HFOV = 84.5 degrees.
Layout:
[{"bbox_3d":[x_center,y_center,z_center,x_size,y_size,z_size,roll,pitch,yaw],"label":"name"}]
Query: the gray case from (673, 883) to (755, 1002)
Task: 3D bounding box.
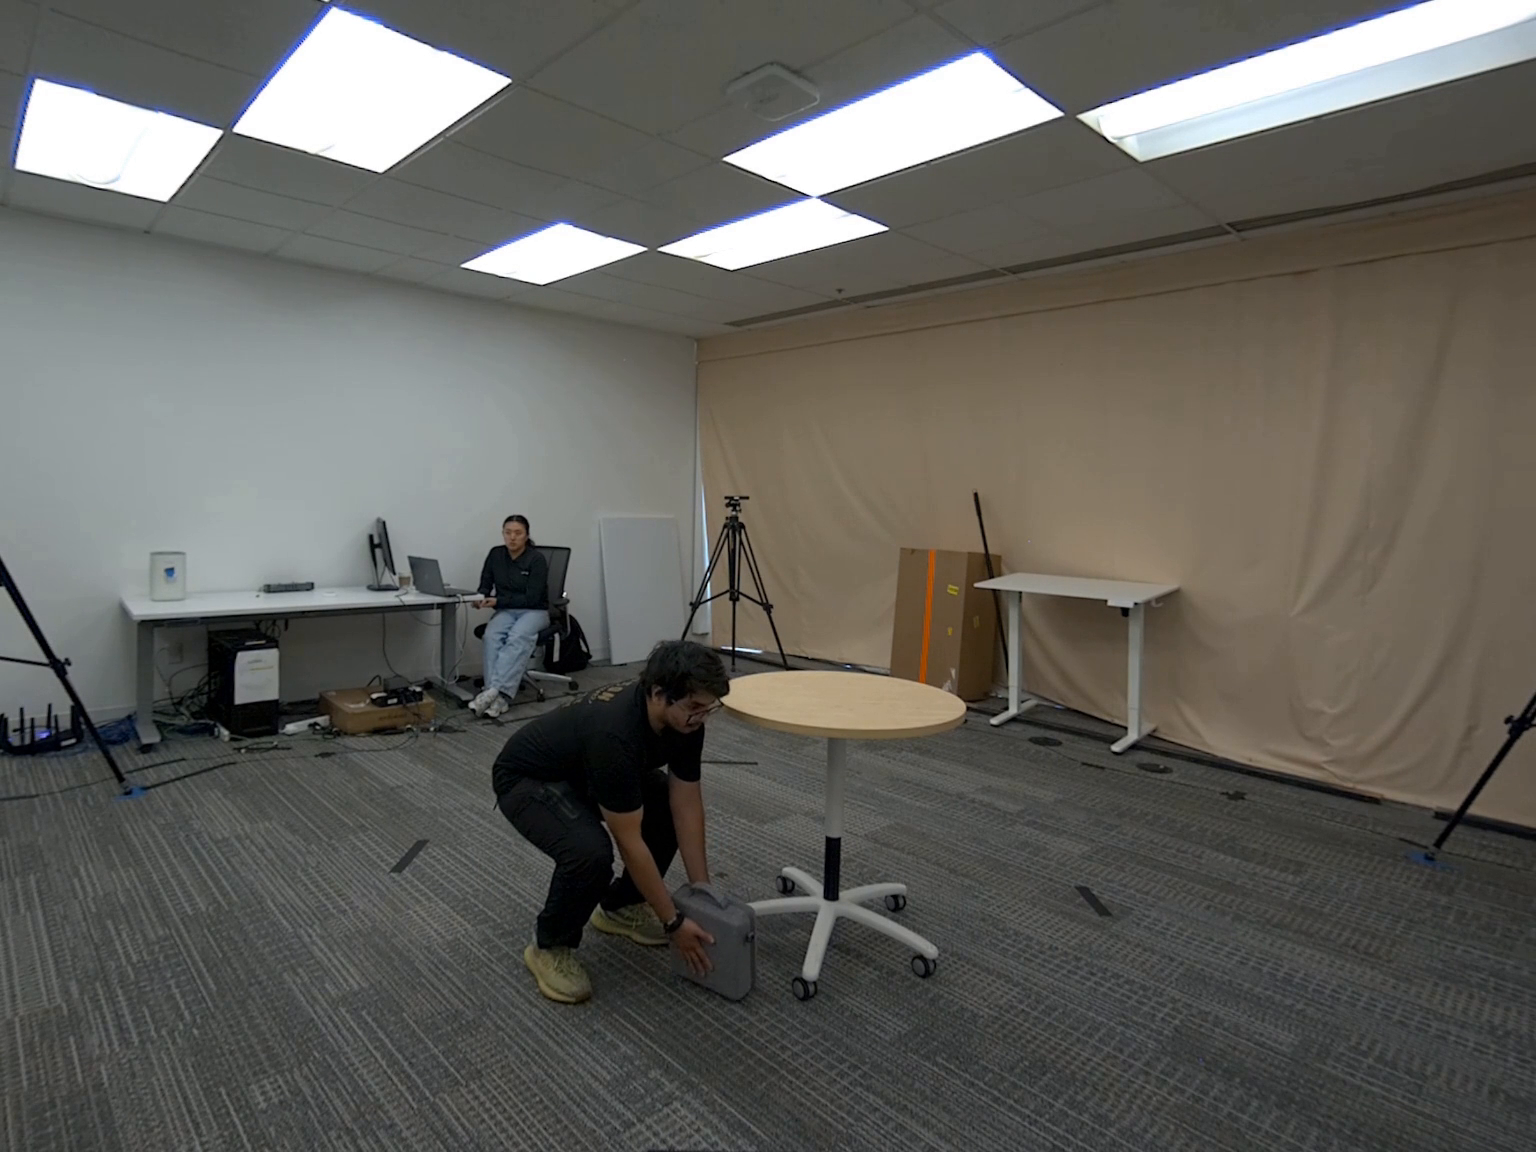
[{"bbox_3d":[-0.163,1.025,2.368,0.262,0.259,0.103,4,10,30],"label":"gray case"}]
